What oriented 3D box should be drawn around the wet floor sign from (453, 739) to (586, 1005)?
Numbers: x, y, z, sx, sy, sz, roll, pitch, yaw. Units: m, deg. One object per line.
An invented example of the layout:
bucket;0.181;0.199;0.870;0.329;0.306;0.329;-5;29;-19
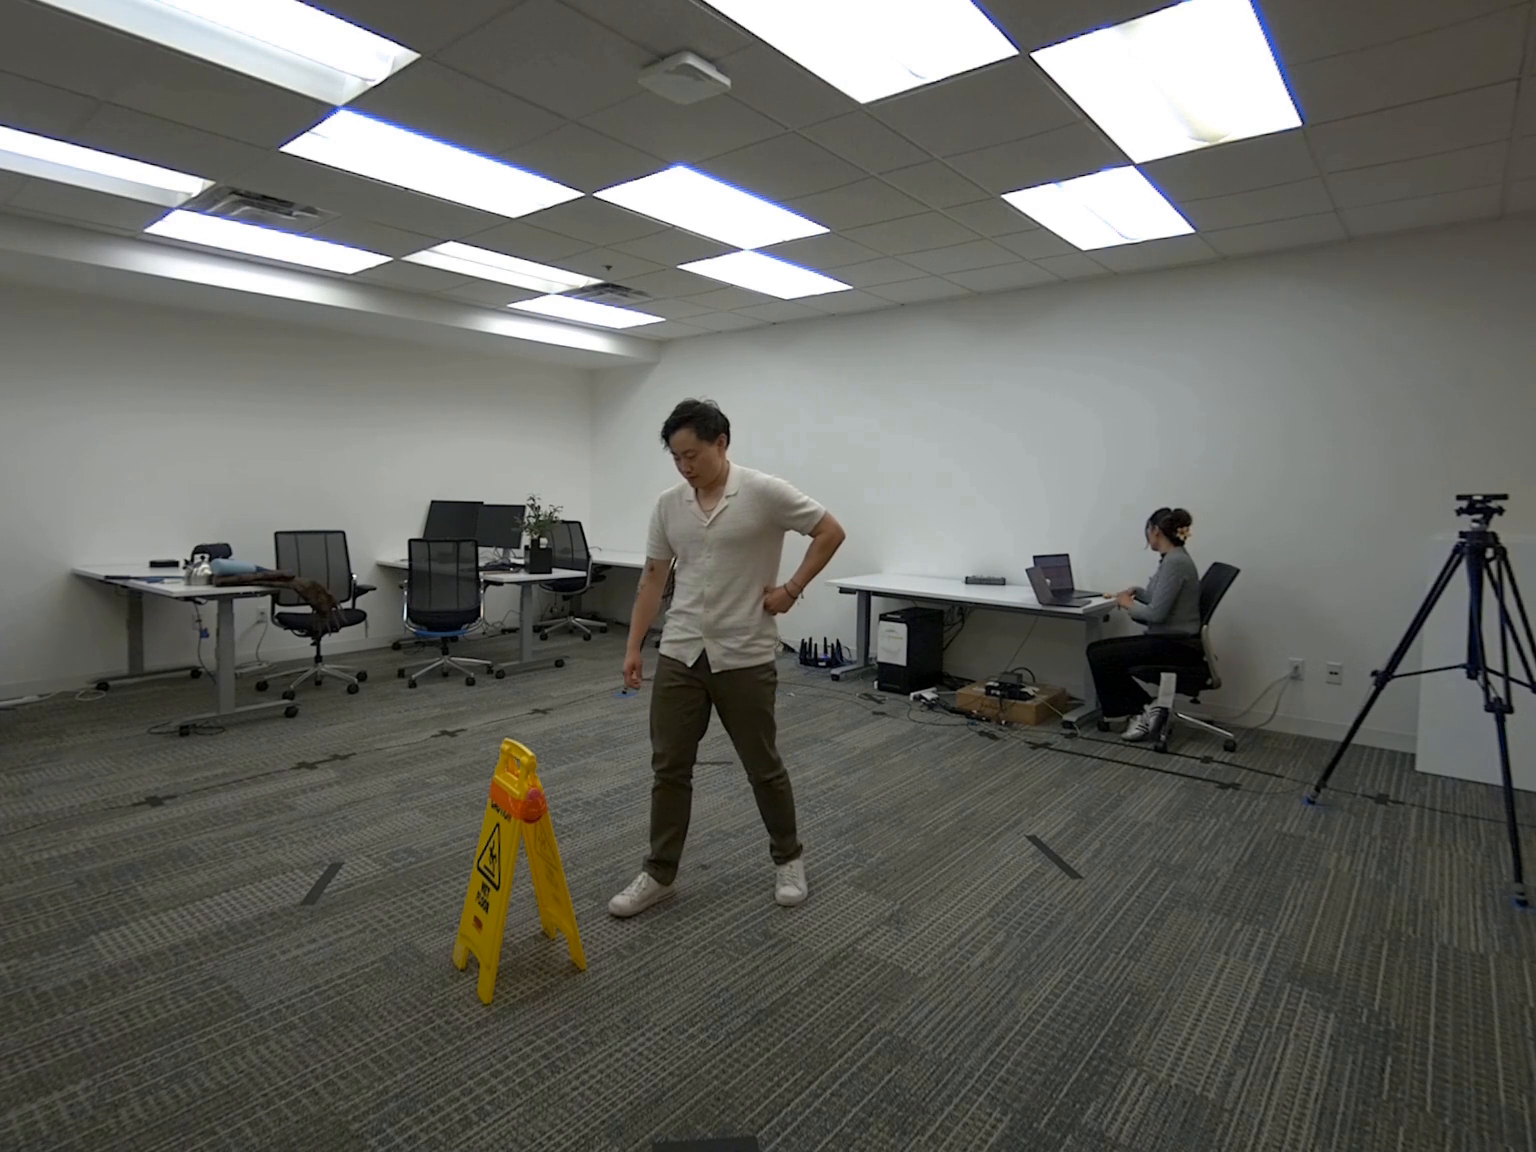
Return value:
wet floor sign;-0.726;0.805;2.446;0.281;0.644;0.291;-2;4;-38
